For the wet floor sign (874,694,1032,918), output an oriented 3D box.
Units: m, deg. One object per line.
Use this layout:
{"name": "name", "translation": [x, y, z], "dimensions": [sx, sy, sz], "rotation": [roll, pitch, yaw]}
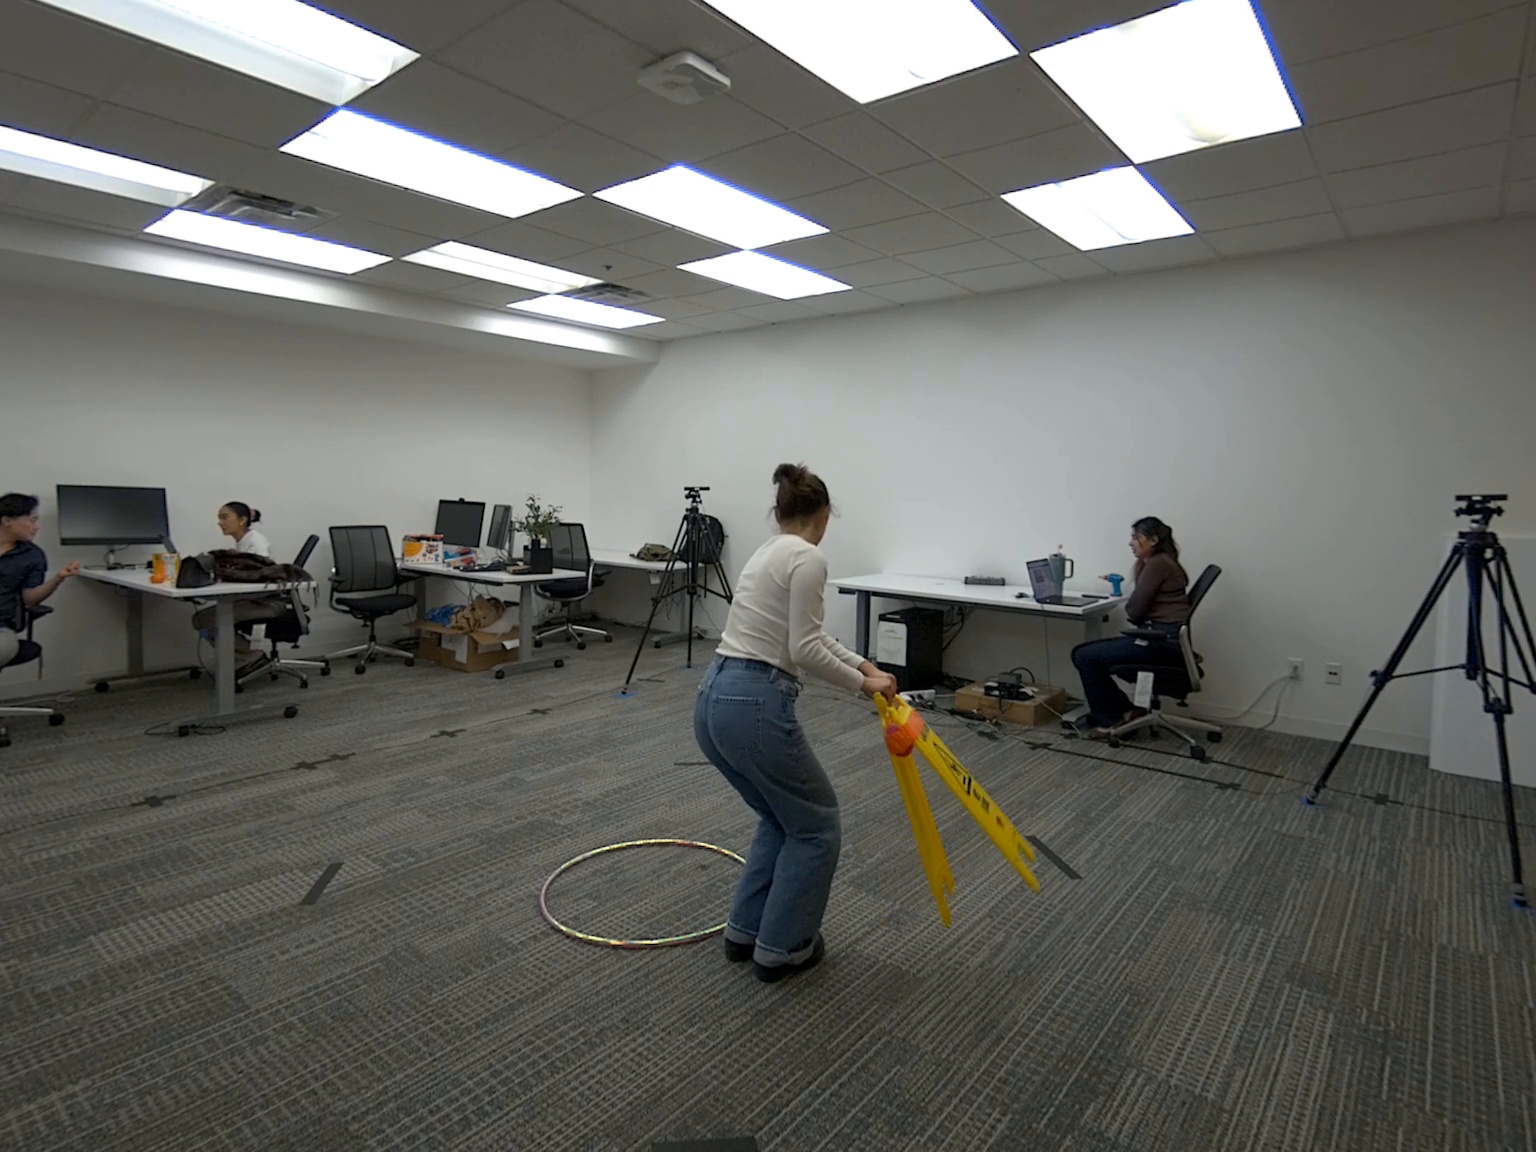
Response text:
{"name": "wet floor sign", "translation": [0.449, 0.569, 2.480], "dimensions": [0.292, 0.650, 0.278], "rotation": [-30, -4, 16]}
